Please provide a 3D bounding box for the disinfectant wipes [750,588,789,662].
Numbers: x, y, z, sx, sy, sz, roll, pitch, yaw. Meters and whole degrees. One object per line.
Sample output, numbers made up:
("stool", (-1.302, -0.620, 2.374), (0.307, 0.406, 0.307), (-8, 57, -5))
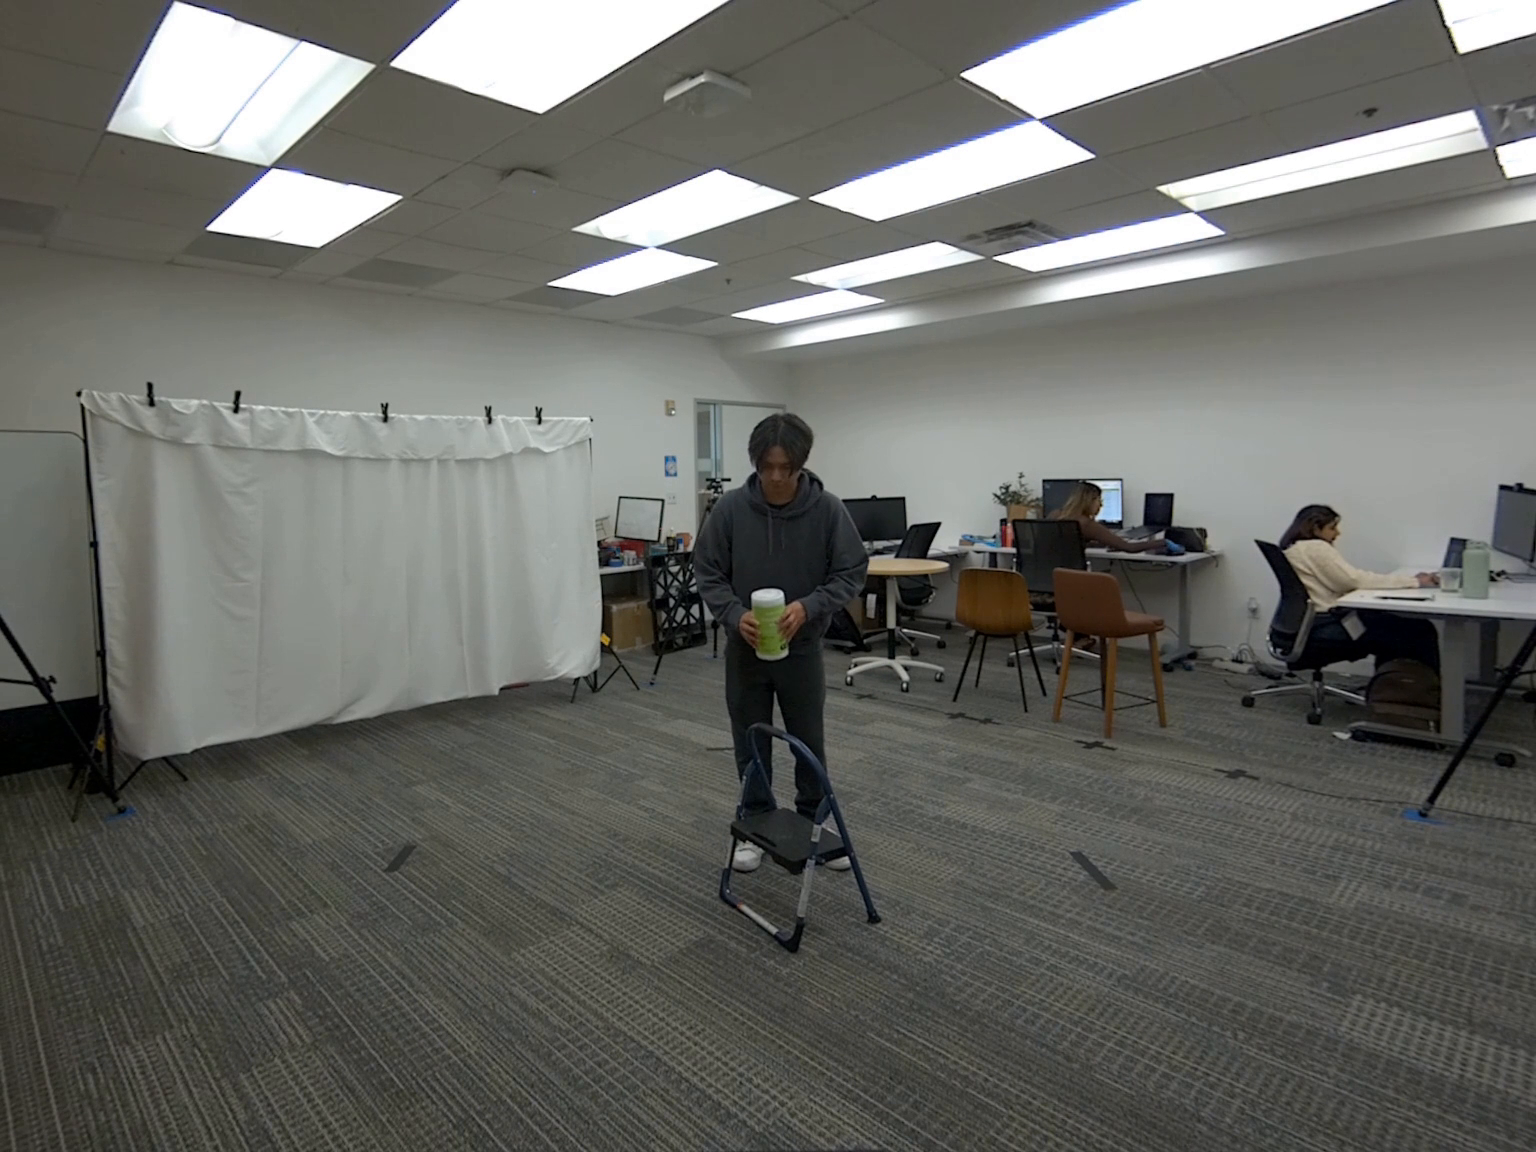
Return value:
("disinfectant wipes", (0.009, 0.161, 2.825), (0.118, 0.214, 0.119), (-4, 15, -1))
